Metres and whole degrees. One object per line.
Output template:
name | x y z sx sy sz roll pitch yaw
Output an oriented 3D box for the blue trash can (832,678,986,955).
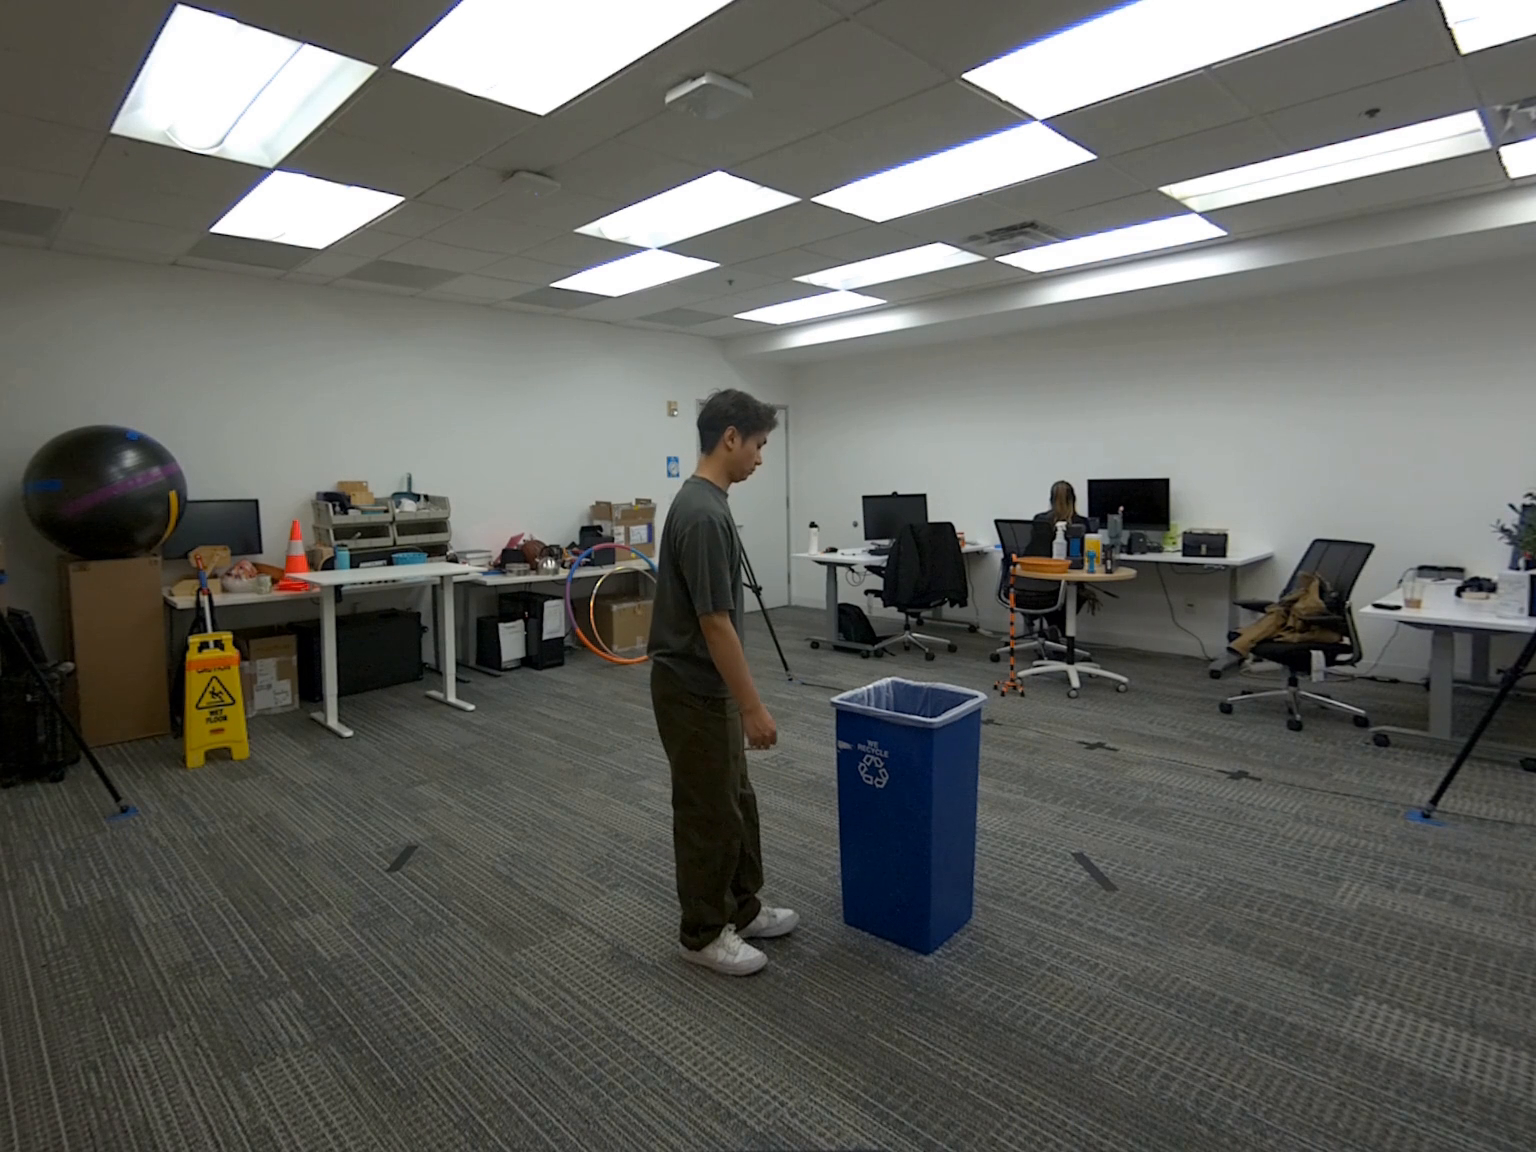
blue trash can | 0.445 0.729 2.677 0.389 0.710 0.365 3 7 39
